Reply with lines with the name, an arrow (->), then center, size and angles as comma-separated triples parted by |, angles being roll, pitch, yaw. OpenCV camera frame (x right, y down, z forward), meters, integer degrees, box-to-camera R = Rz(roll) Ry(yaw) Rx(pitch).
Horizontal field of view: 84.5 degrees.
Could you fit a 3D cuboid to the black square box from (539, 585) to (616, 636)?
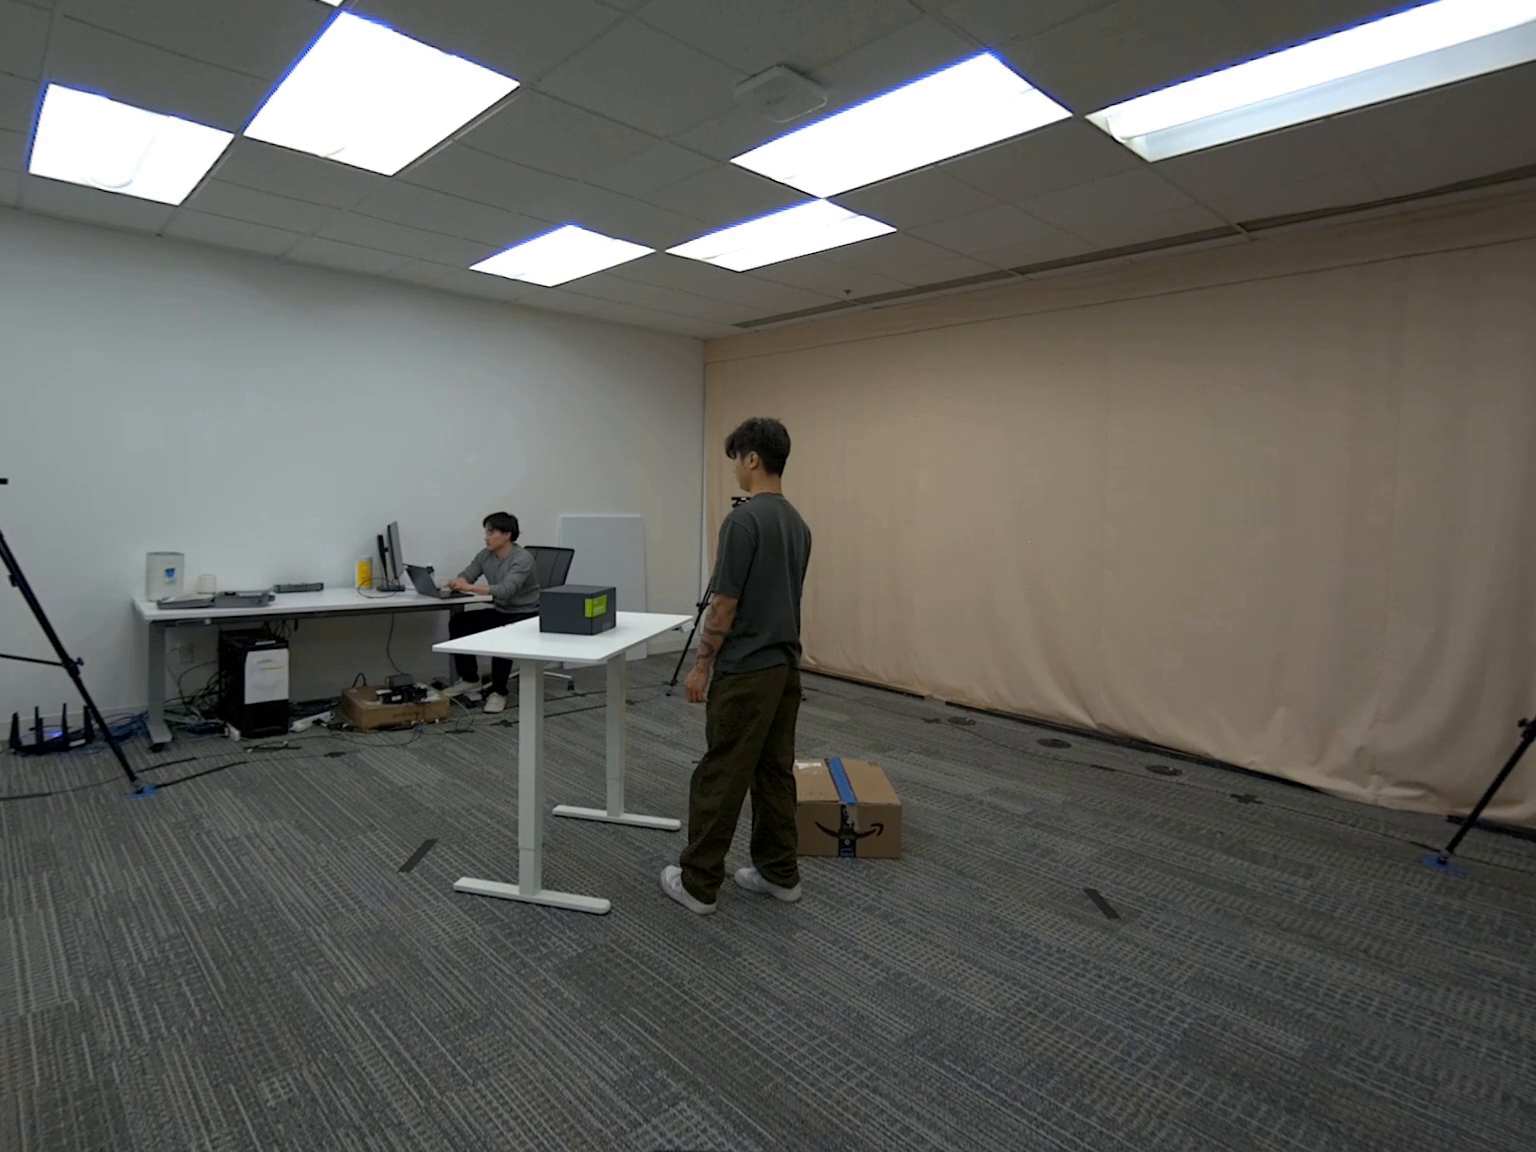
black square box -> -0.725, 0.123, 3.184 | 0.220, 0.155, 0.226 | 2, 6, 14
